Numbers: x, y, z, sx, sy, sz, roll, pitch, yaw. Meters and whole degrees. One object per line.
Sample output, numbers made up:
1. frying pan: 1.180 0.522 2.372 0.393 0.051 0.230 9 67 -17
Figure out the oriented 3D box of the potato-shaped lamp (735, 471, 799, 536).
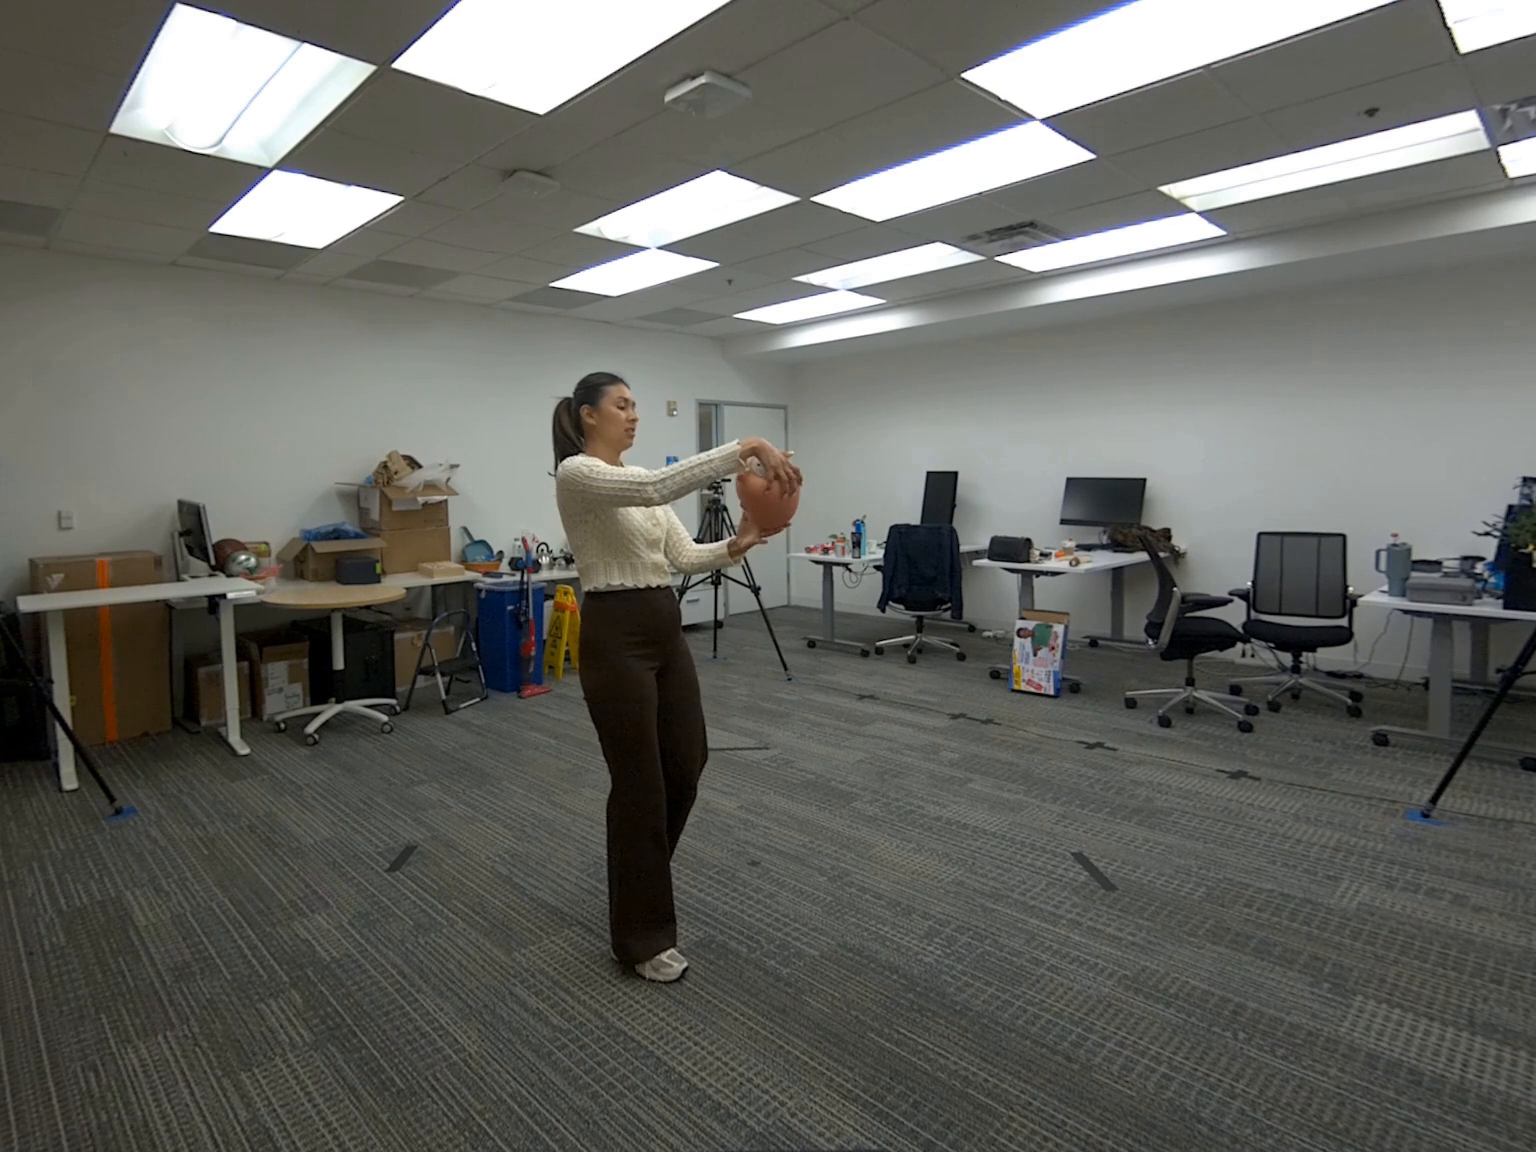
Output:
1. potato-shaped lamp: -0.003 -0.216 2.252 0.175 0.193 0.165 21 51 16
